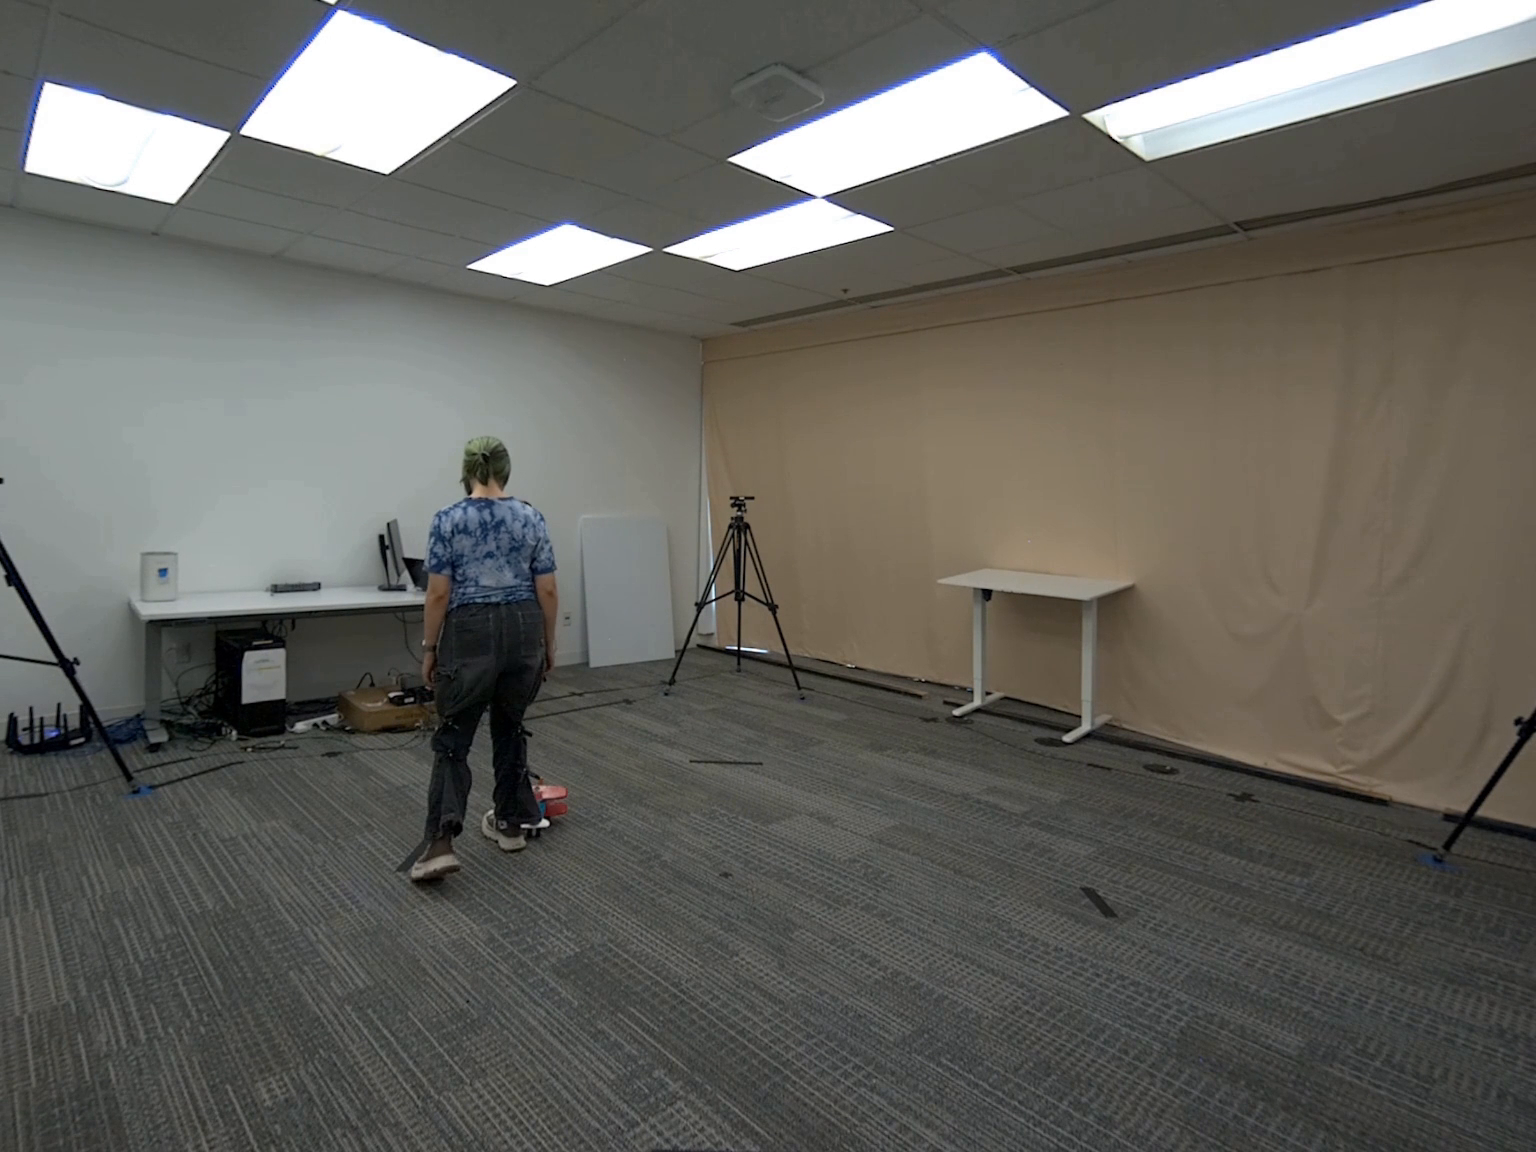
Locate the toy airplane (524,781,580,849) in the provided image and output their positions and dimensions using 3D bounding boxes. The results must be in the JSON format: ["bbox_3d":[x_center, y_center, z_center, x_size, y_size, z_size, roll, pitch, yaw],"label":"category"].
[{"bbox_3d":[-0.954,0.981,3.502,0.245,0.156,0.265,-3,5,-37],"label":"toy airplane"}]
